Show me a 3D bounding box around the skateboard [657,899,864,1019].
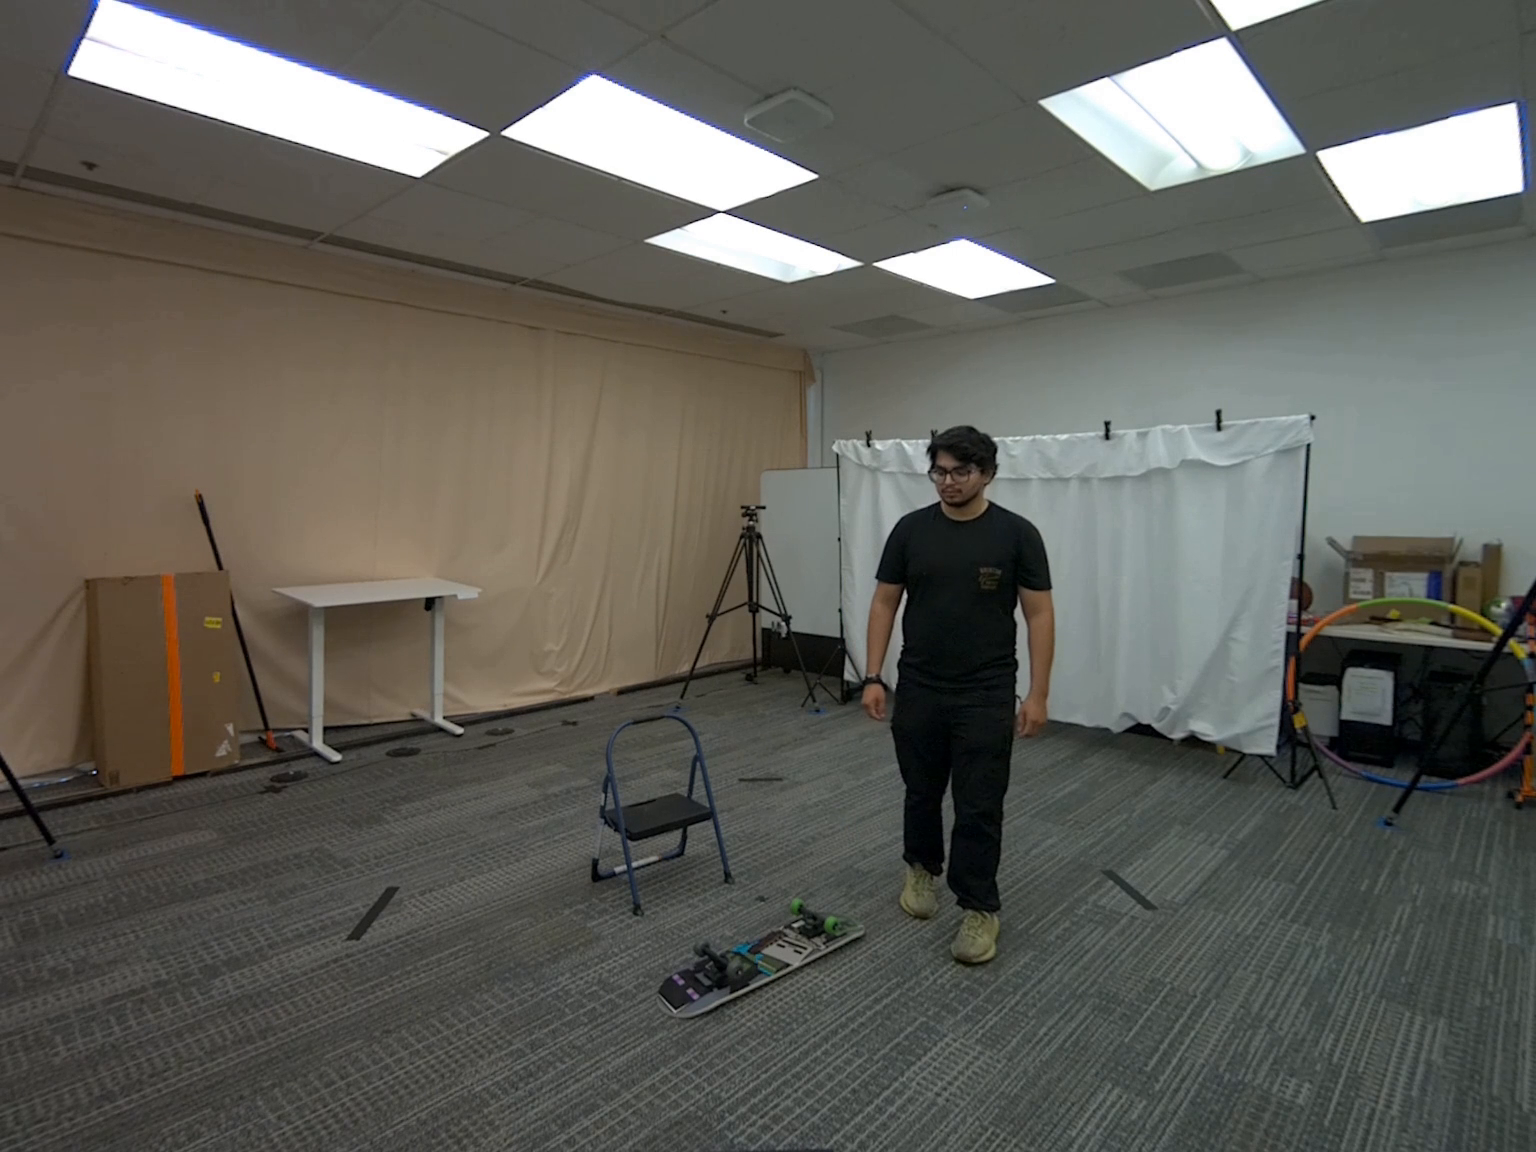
[{"bbox_3d":[0.006,1.131,2.561,0.762,0.110,0.200,-4,6,-41],"label":"skateboard"}]
